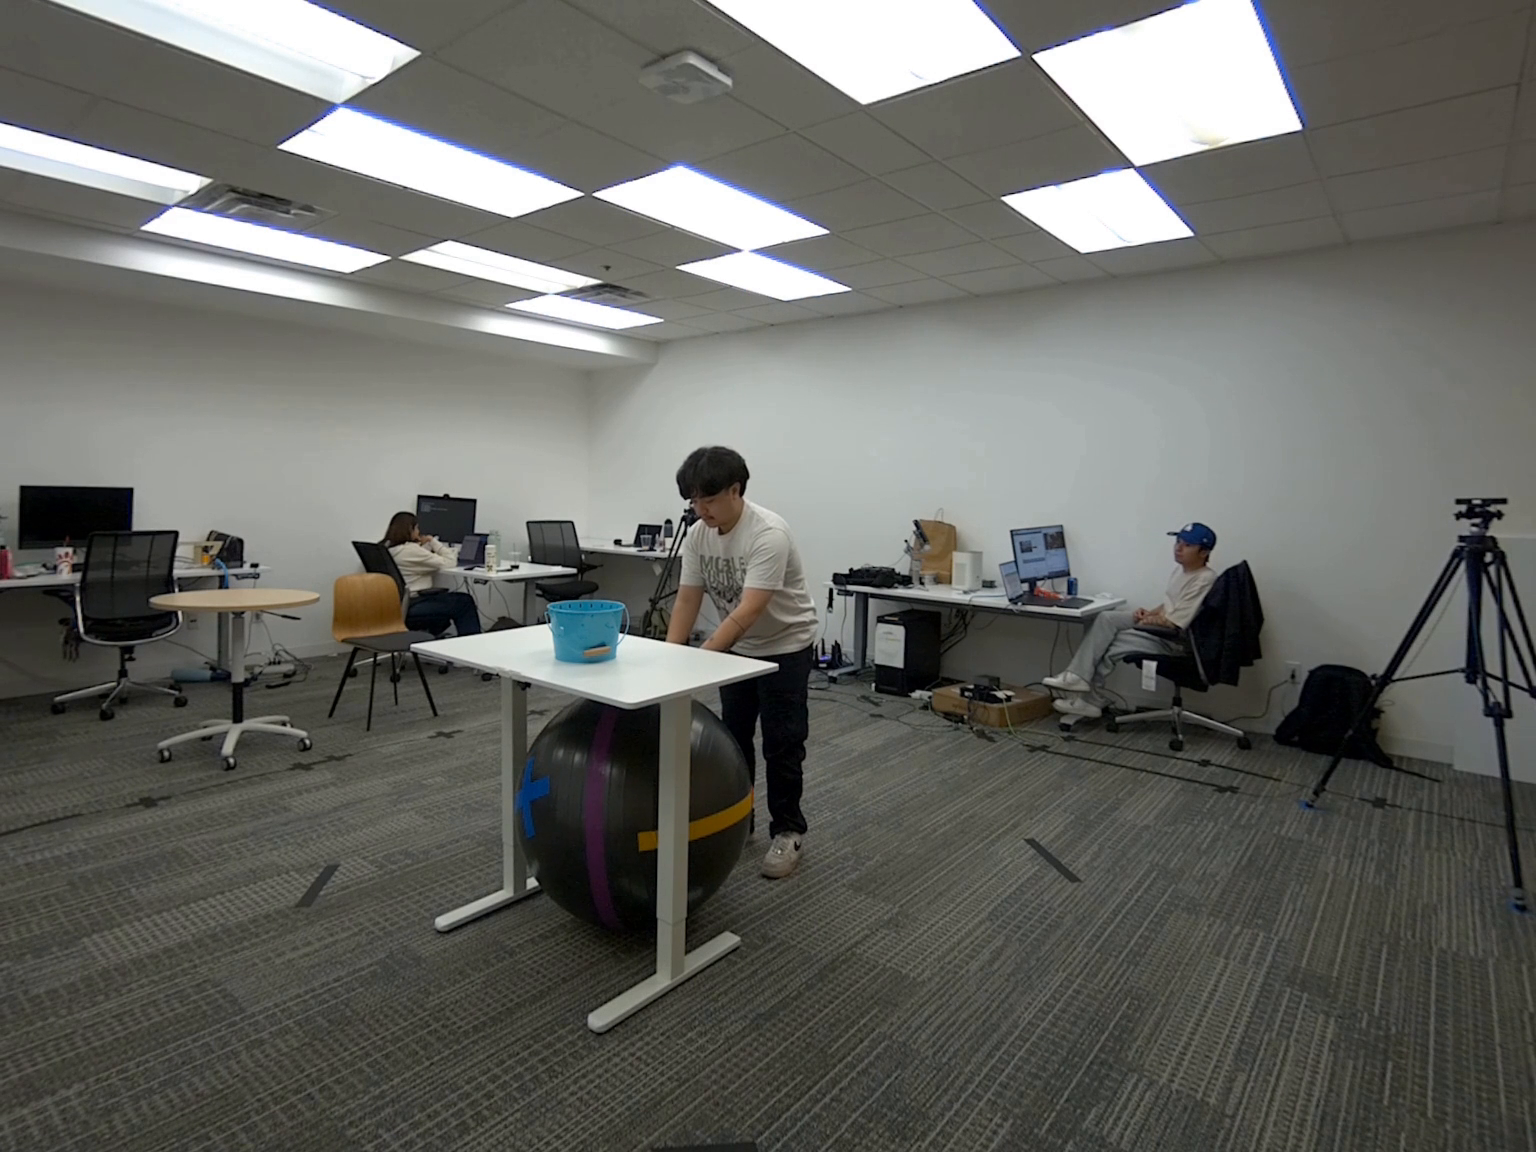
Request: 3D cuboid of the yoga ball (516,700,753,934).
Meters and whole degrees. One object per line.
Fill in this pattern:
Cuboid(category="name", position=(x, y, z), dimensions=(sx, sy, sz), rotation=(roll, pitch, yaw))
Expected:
Cuboid(category="yoga ball", position=(-0.440, 0.737, 2.743), dimensions=(0.757, 0.755, 0.762), rotation=(1, 4, -2))
